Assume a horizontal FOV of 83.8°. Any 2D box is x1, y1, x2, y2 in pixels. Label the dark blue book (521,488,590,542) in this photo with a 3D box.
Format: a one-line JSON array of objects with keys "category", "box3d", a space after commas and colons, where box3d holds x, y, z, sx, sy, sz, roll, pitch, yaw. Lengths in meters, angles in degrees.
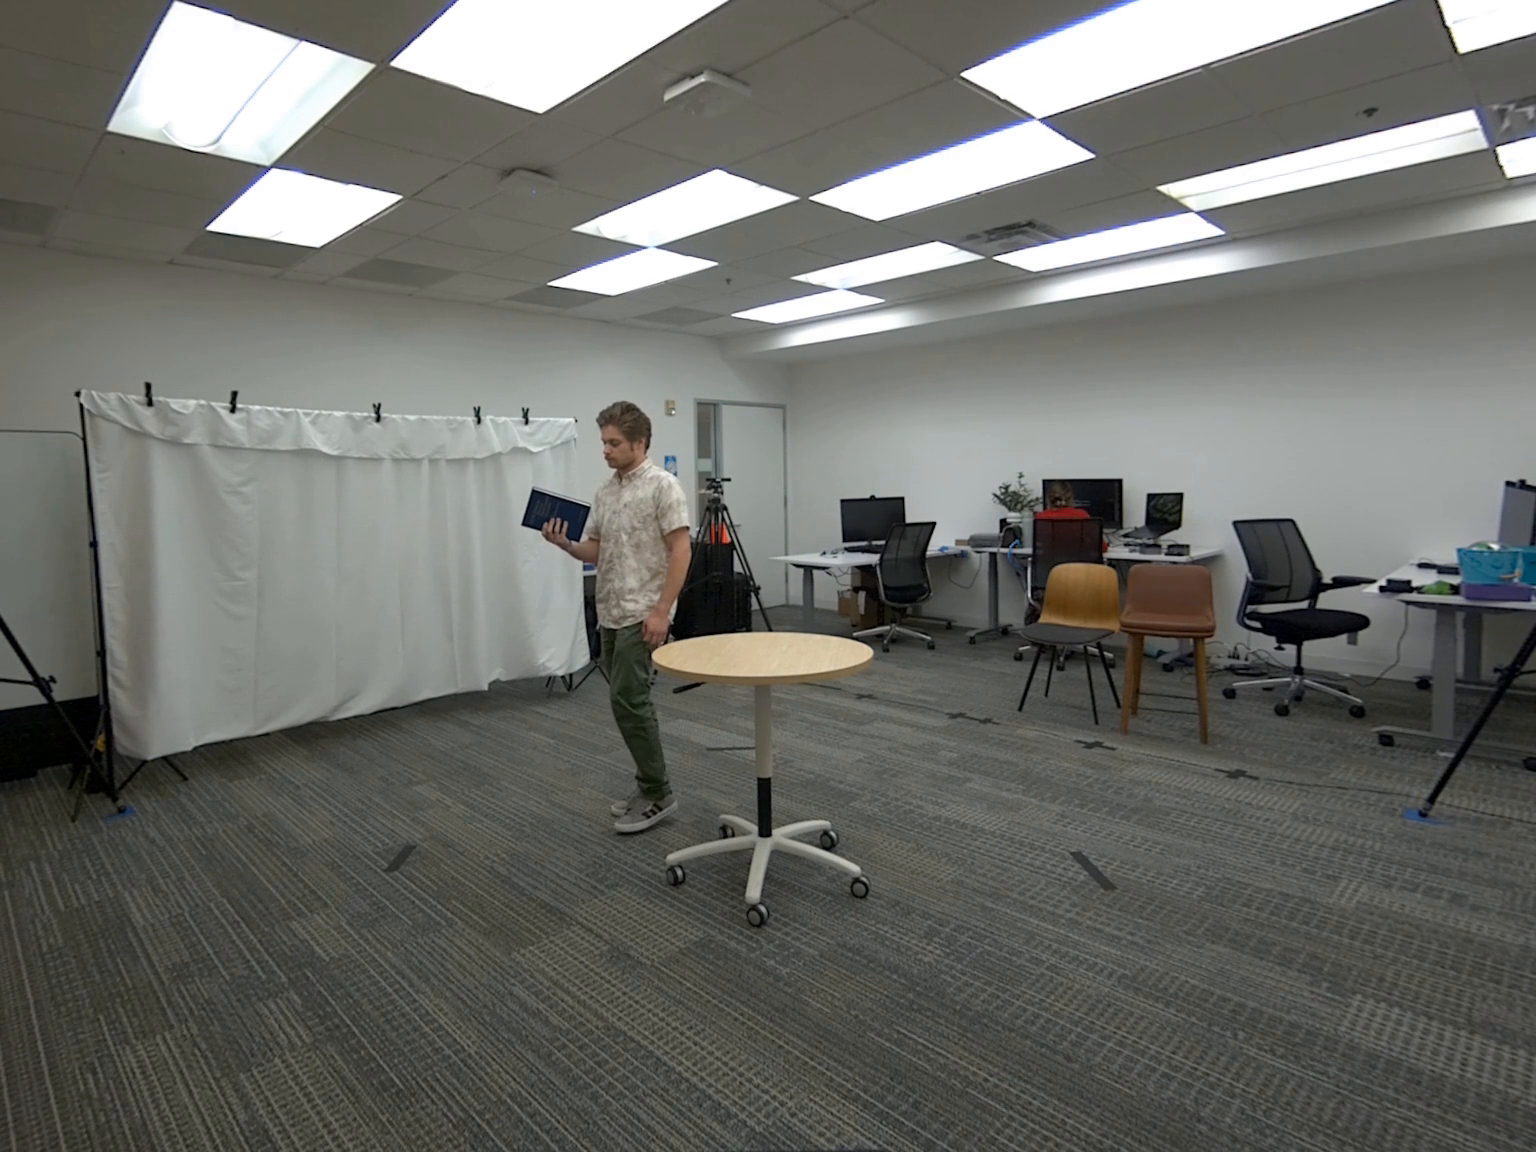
[{"category": "dark blue book", "box3d": [-0.853, -0.251, 3.453, 0.243, 0.162, 0.046, 18, 13, -7]}]
